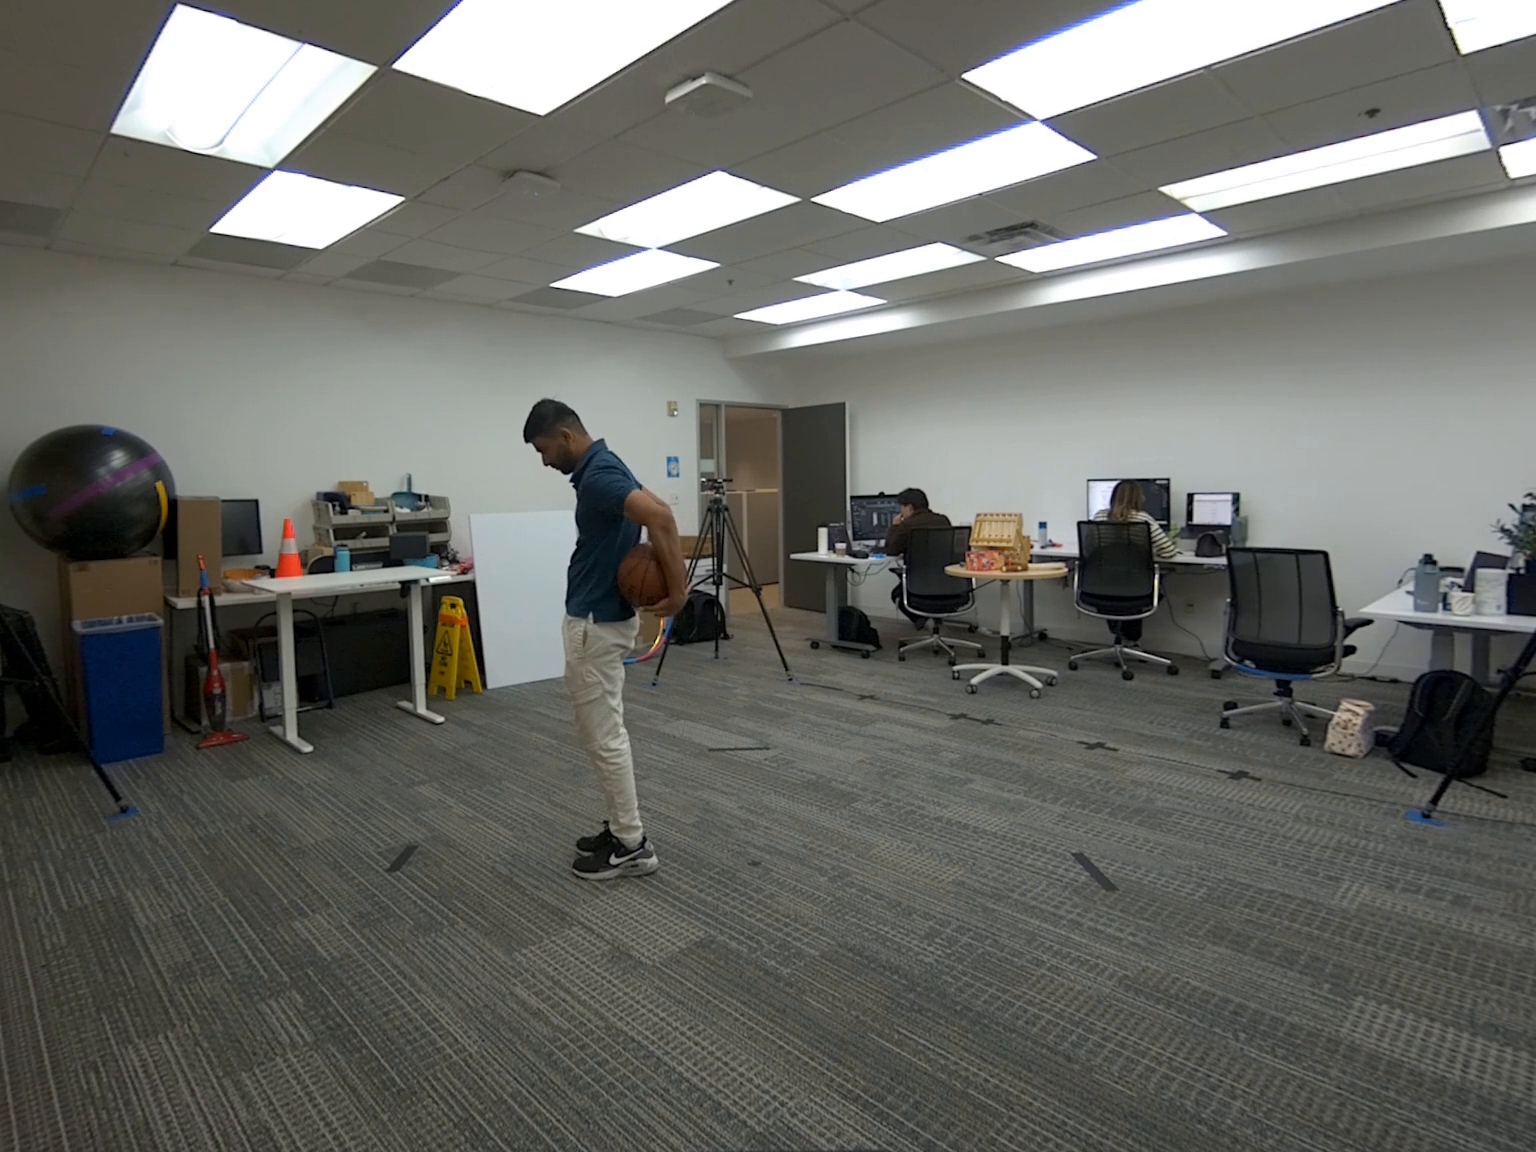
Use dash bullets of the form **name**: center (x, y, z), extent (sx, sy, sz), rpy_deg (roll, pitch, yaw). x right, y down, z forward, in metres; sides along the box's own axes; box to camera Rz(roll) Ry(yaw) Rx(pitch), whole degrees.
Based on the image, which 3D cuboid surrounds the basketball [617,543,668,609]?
- **basketball**: center (-0.397, 0.003, 2.922), extent (0.236, 0.235, 0.237), rpy_deg (-1, 5, -2)
